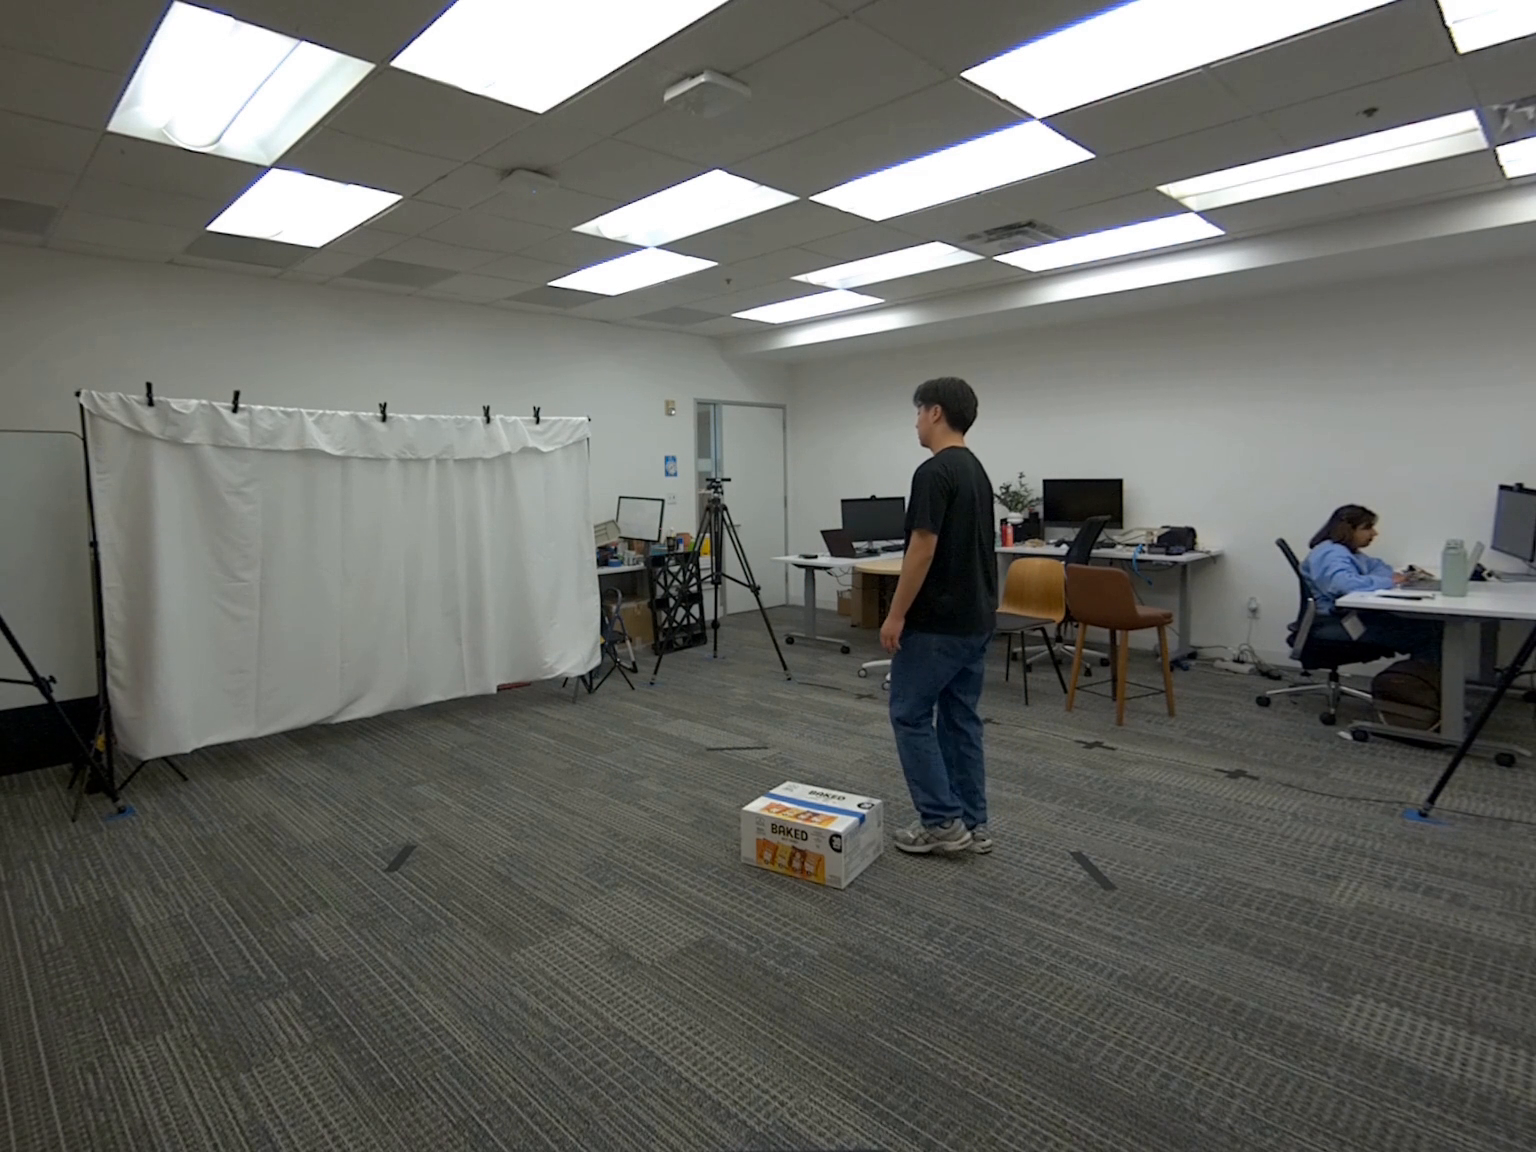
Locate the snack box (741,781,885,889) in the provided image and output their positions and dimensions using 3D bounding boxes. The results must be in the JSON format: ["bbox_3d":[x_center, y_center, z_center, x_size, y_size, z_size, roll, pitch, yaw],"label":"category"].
[{"bbox_3d":[0.169,0.934,3.122,0.416,0.205,0.332,2,7,32],"label":"snack box"}]
